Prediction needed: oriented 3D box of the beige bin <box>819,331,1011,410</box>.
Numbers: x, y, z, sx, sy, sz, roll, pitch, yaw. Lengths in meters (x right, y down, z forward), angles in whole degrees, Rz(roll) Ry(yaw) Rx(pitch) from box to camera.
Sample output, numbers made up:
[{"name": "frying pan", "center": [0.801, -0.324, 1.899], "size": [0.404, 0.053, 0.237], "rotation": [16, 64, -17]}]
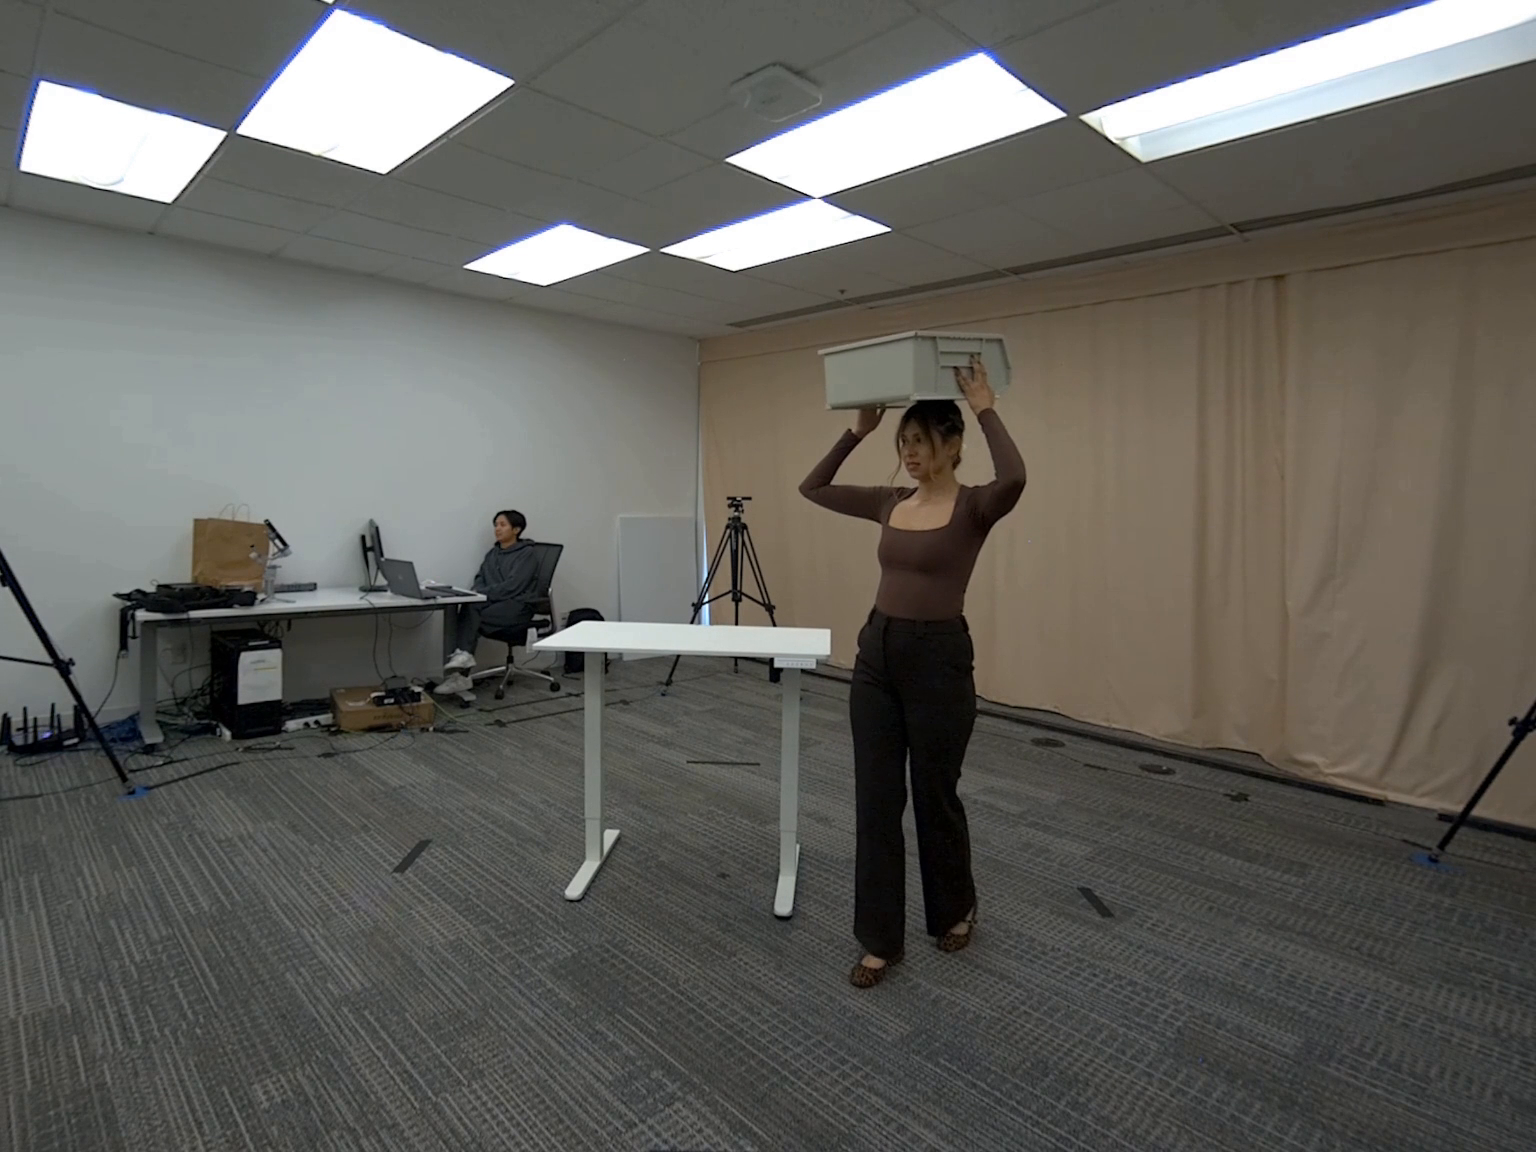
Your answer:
[{"name": "beige bin", "center": [0.422, -0.595, 2.488], "size": [0.370, 0.188, 0.432], "rotation": [-8, 10, -31]}]
